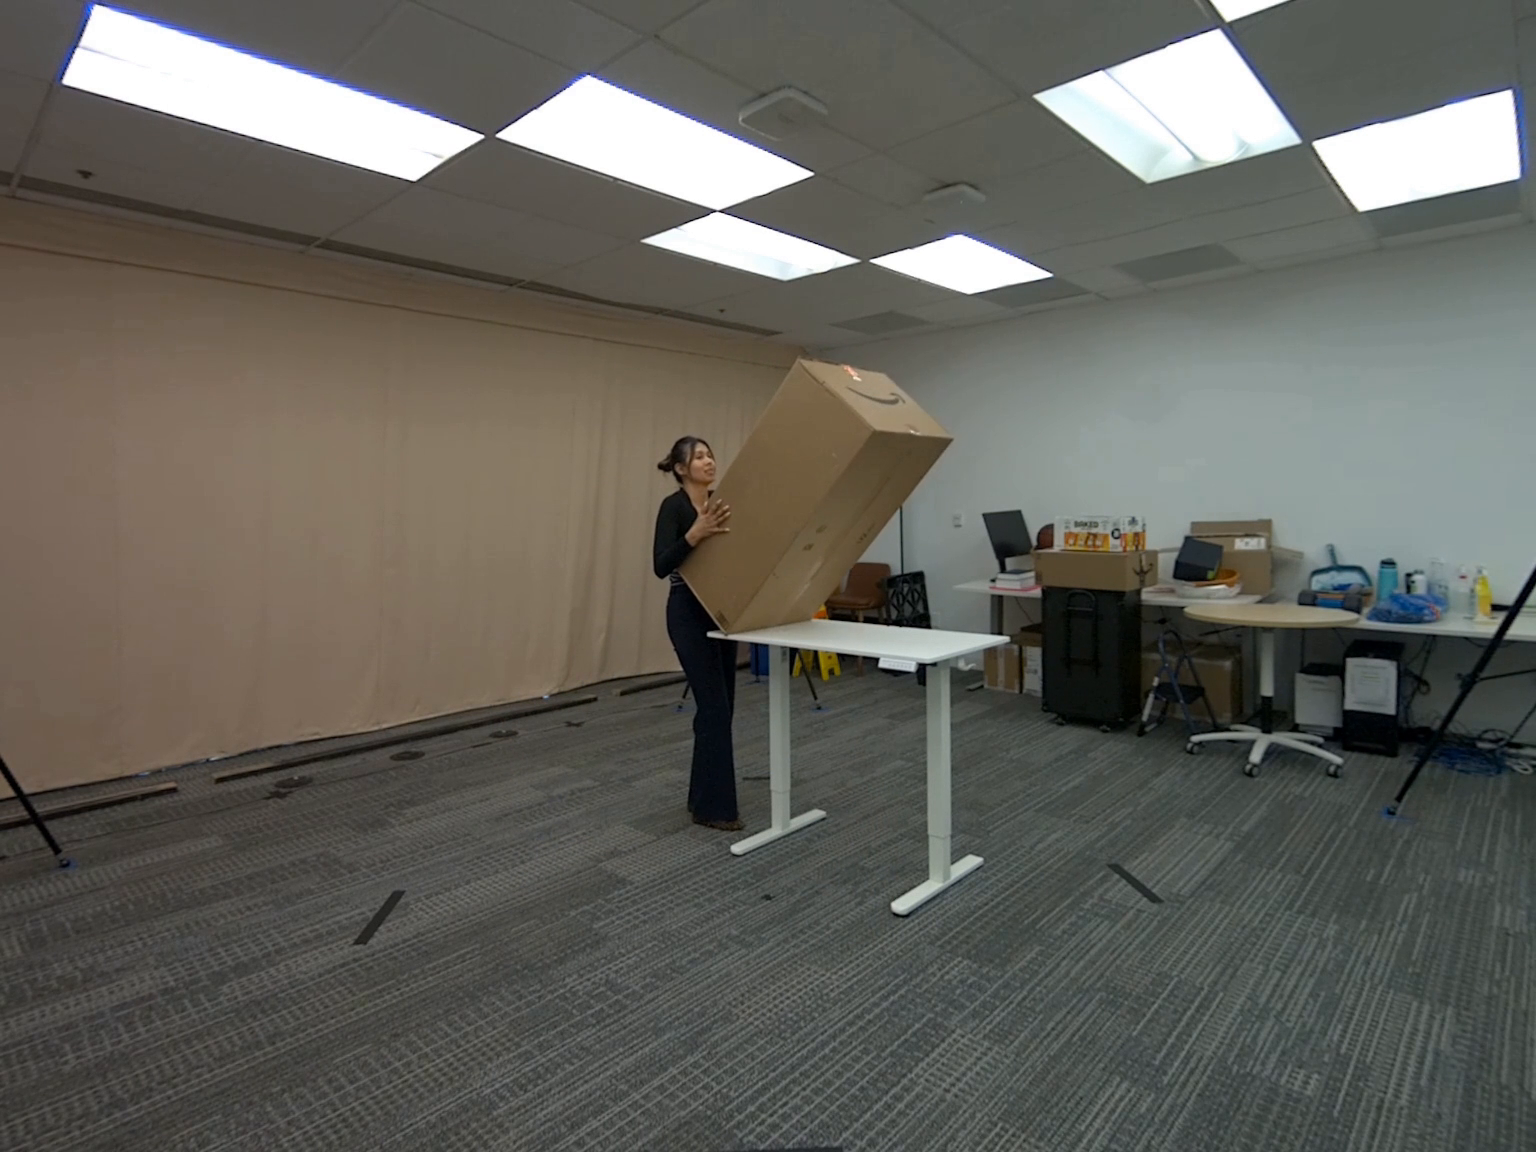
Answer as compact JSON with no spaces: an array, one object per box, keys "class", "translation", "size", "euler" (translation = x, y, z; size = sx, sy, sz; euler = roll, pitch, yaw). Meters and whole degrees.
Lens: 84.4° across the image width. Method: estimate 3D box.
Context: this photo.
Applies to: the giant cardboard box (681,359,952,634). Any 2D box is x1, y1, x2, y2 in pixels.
[{"class":"giant cardboard box","translation":[0.155,-0.289,3.348],"size":[0.560,1.028,0.439],"euler":[-4,47,-49]}]
